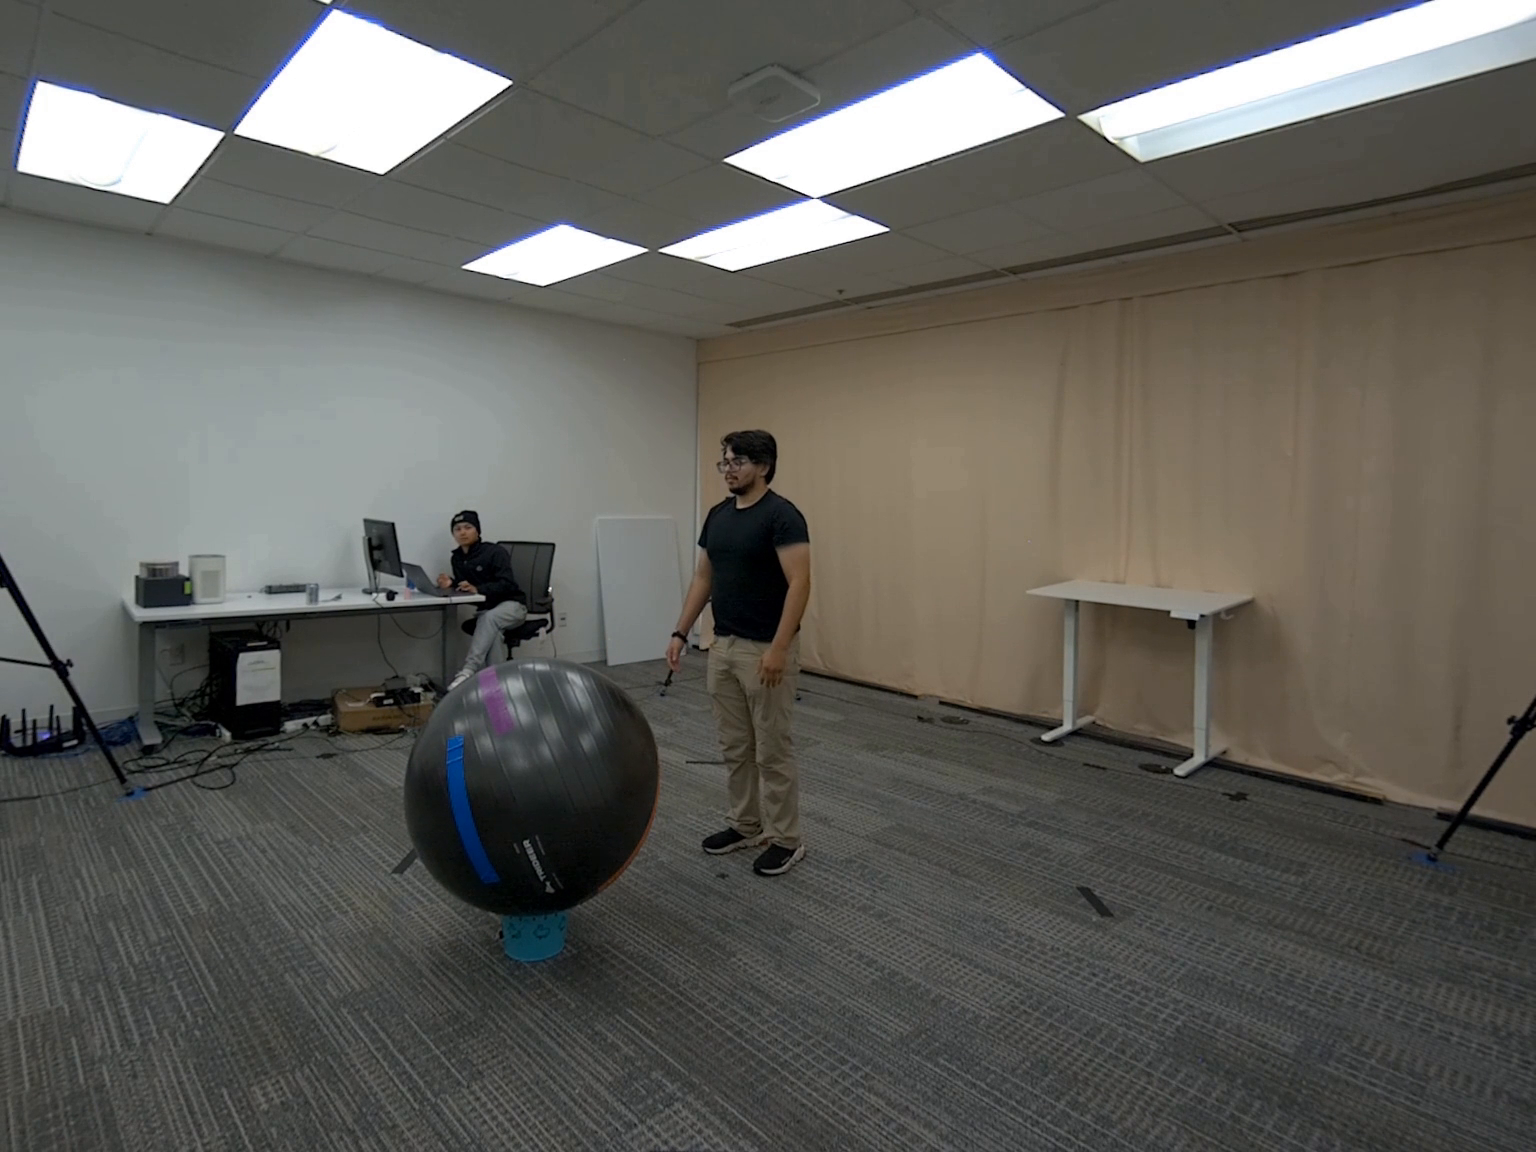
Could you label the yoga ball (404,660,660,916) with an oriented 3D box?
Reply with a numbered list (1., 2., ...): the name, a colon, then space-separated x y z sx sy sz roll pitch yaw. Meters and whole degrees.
1. yoga ball: -0.709 0.632 2.575 0.757 0.756 0.761 1 4 -1
